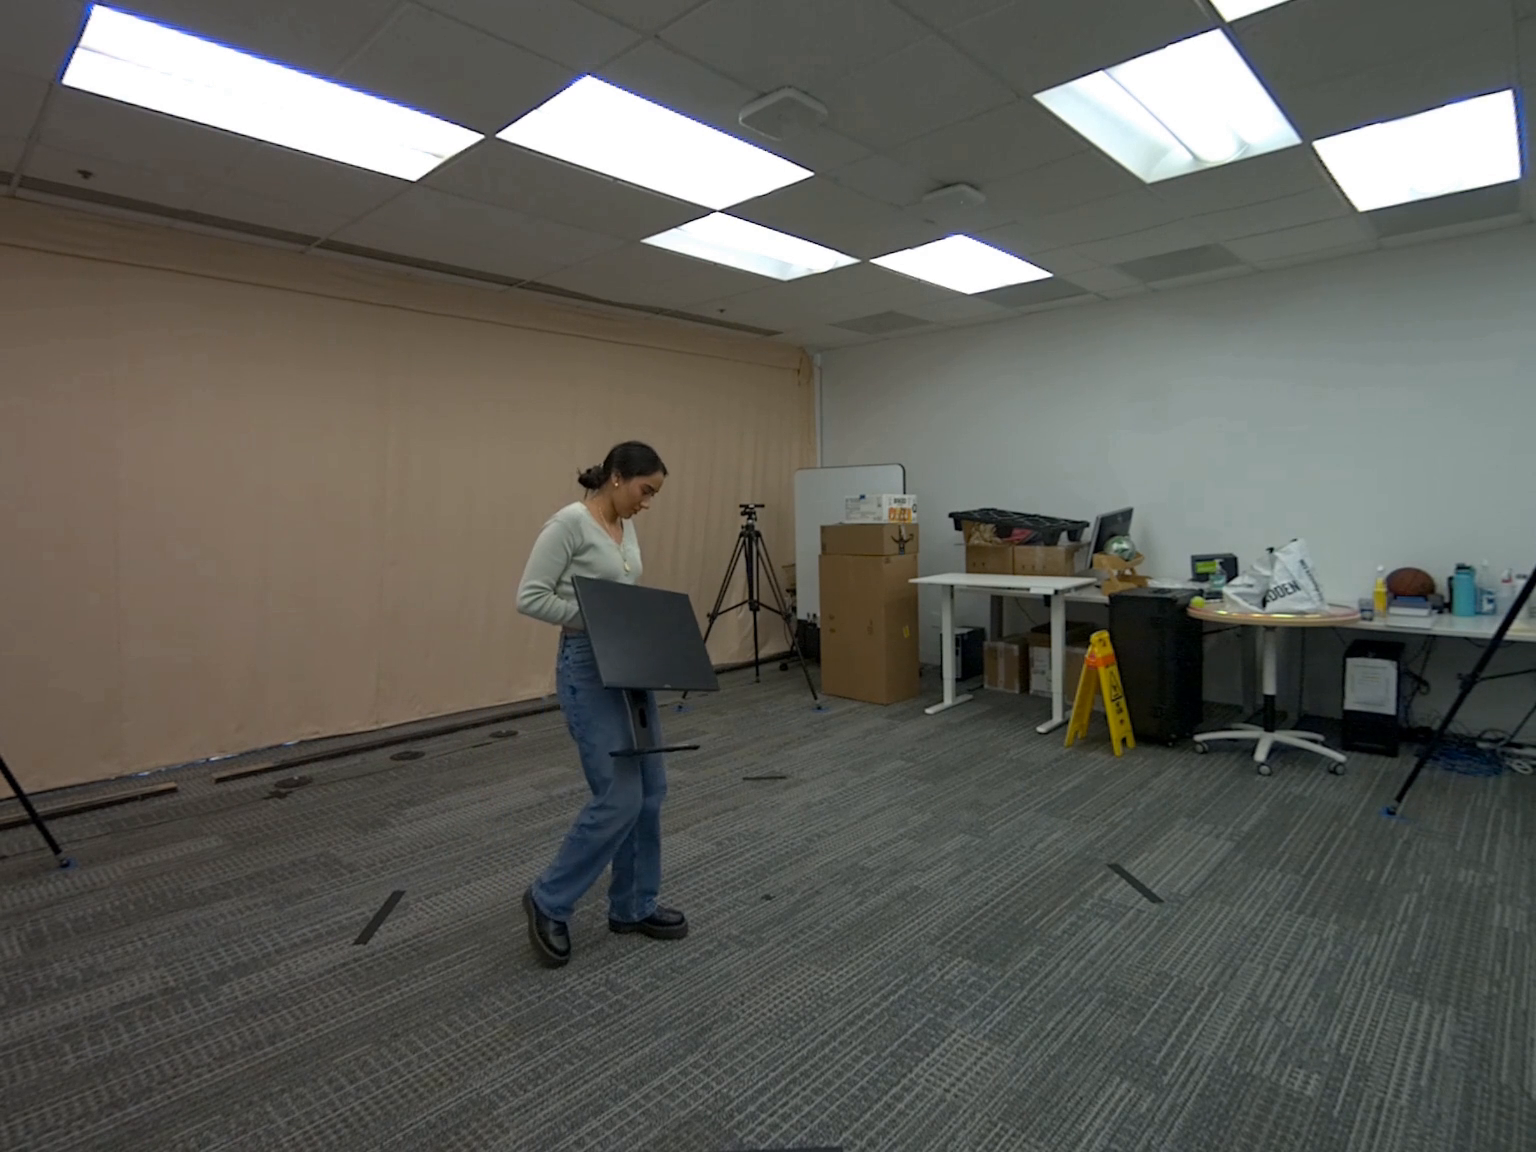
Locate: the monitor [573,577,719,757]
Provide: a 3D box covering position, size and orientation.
[{"bbox_3d":[-0.367,0.274,2.558,0.179,0.520,0.512,-11,-15,33],"label":"monitor"}]
